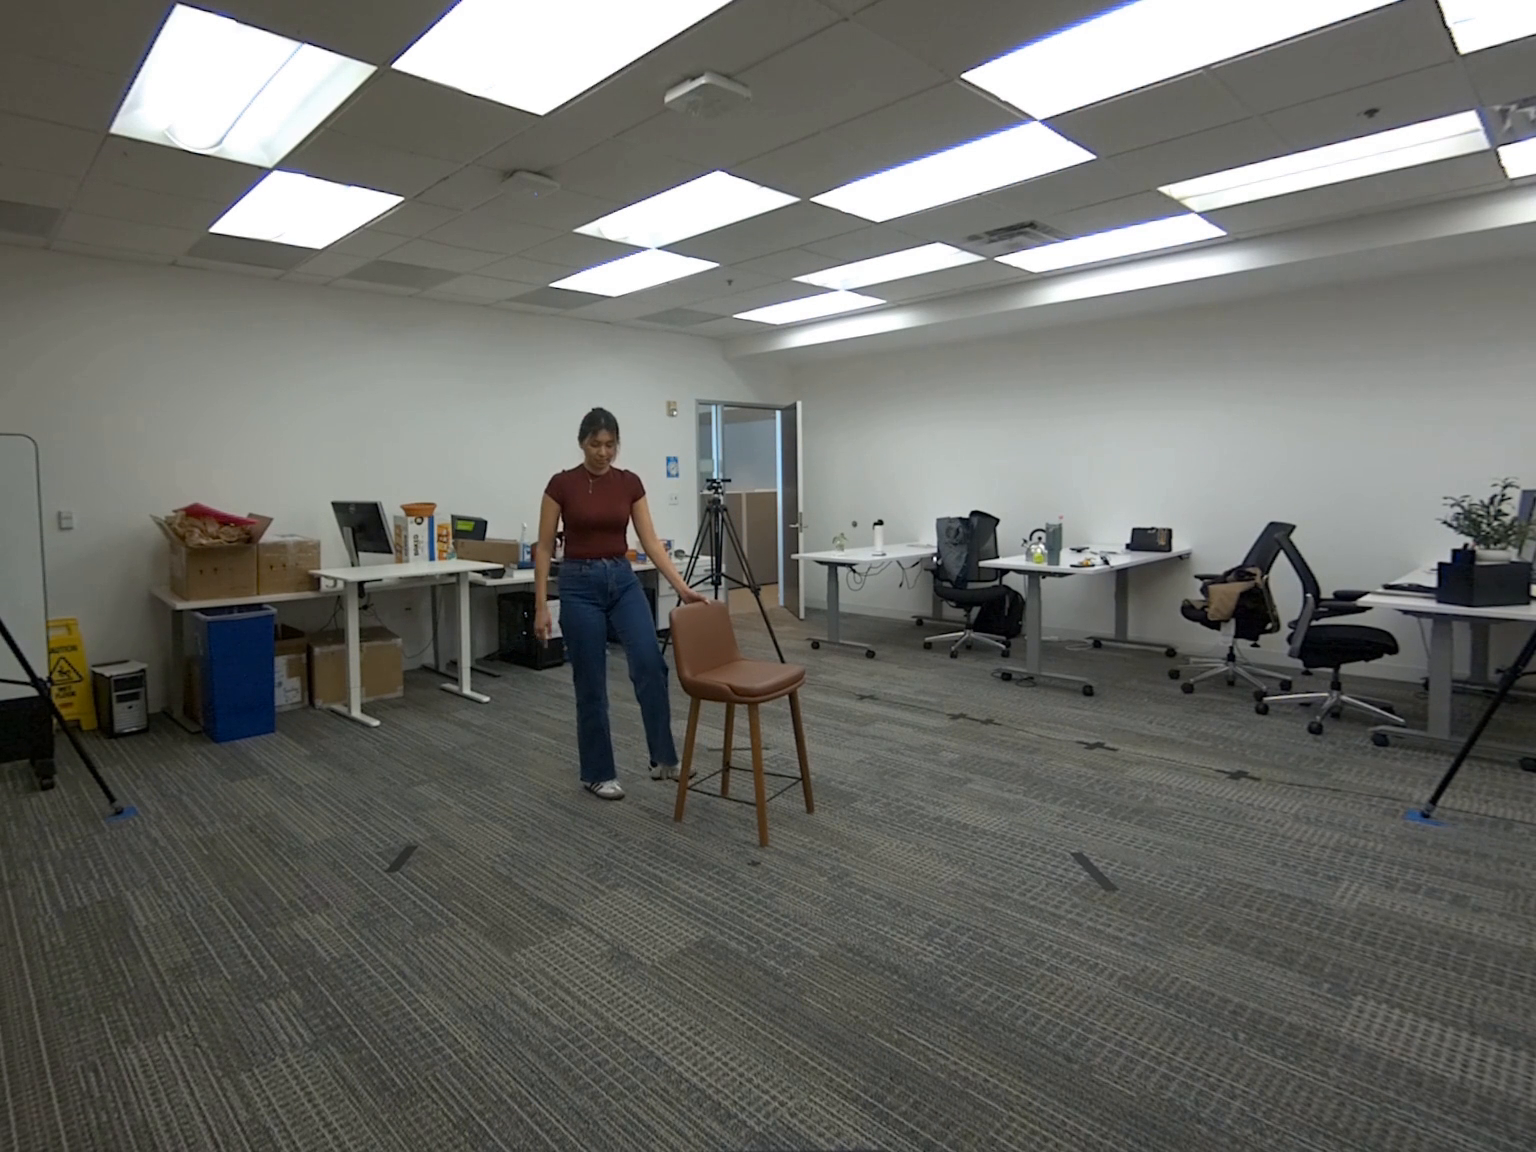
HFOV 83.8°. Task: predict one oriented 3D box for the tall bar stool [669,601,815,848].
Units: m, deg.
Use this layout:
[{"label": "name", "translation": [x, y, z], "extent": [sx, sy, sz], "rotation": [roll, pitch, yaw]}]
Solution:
[{"label": "tall bar stool", "translation": [-0.115, 0.563, 3.513], "extent": [0.480, 0.888, 0.445], "rotation": [-1, 2, 33]}]
